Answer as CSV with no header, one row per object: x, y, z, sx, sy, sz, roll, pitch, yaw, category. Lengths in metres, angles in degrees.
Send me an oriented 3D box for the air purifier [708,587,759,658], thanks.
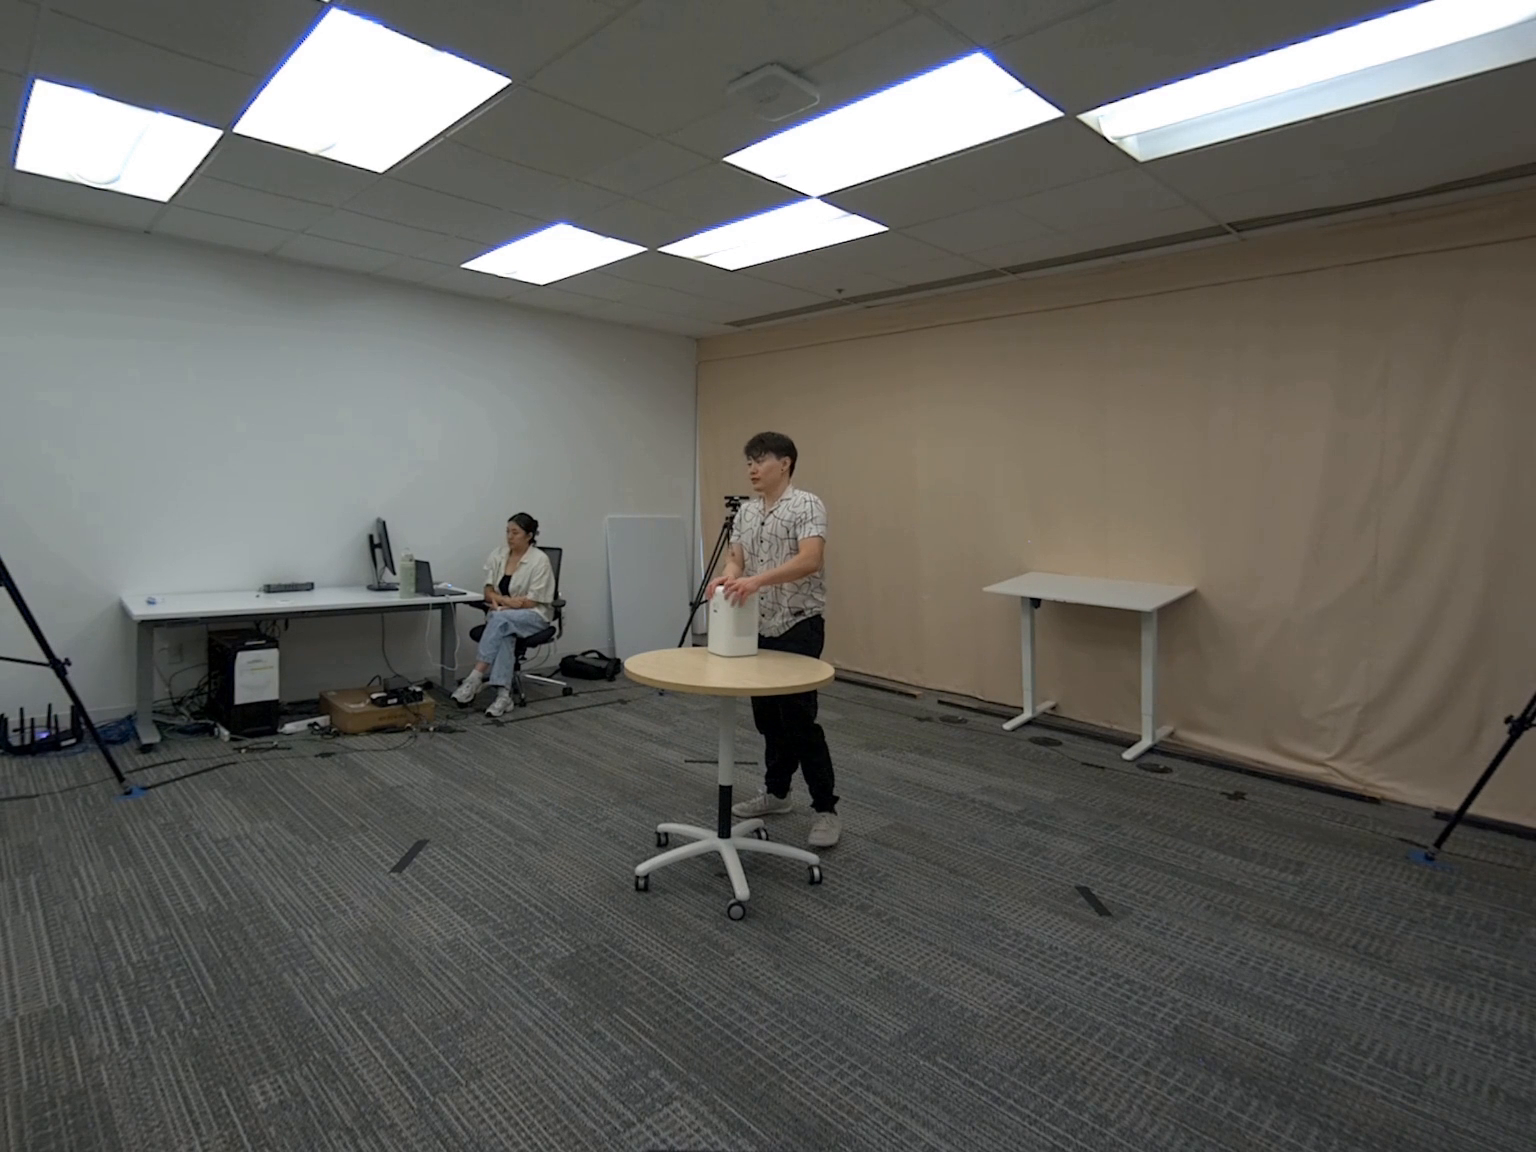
-0.140,0.172,3.324,0.168,0.265,0.175,2,1,-31,air purifier
